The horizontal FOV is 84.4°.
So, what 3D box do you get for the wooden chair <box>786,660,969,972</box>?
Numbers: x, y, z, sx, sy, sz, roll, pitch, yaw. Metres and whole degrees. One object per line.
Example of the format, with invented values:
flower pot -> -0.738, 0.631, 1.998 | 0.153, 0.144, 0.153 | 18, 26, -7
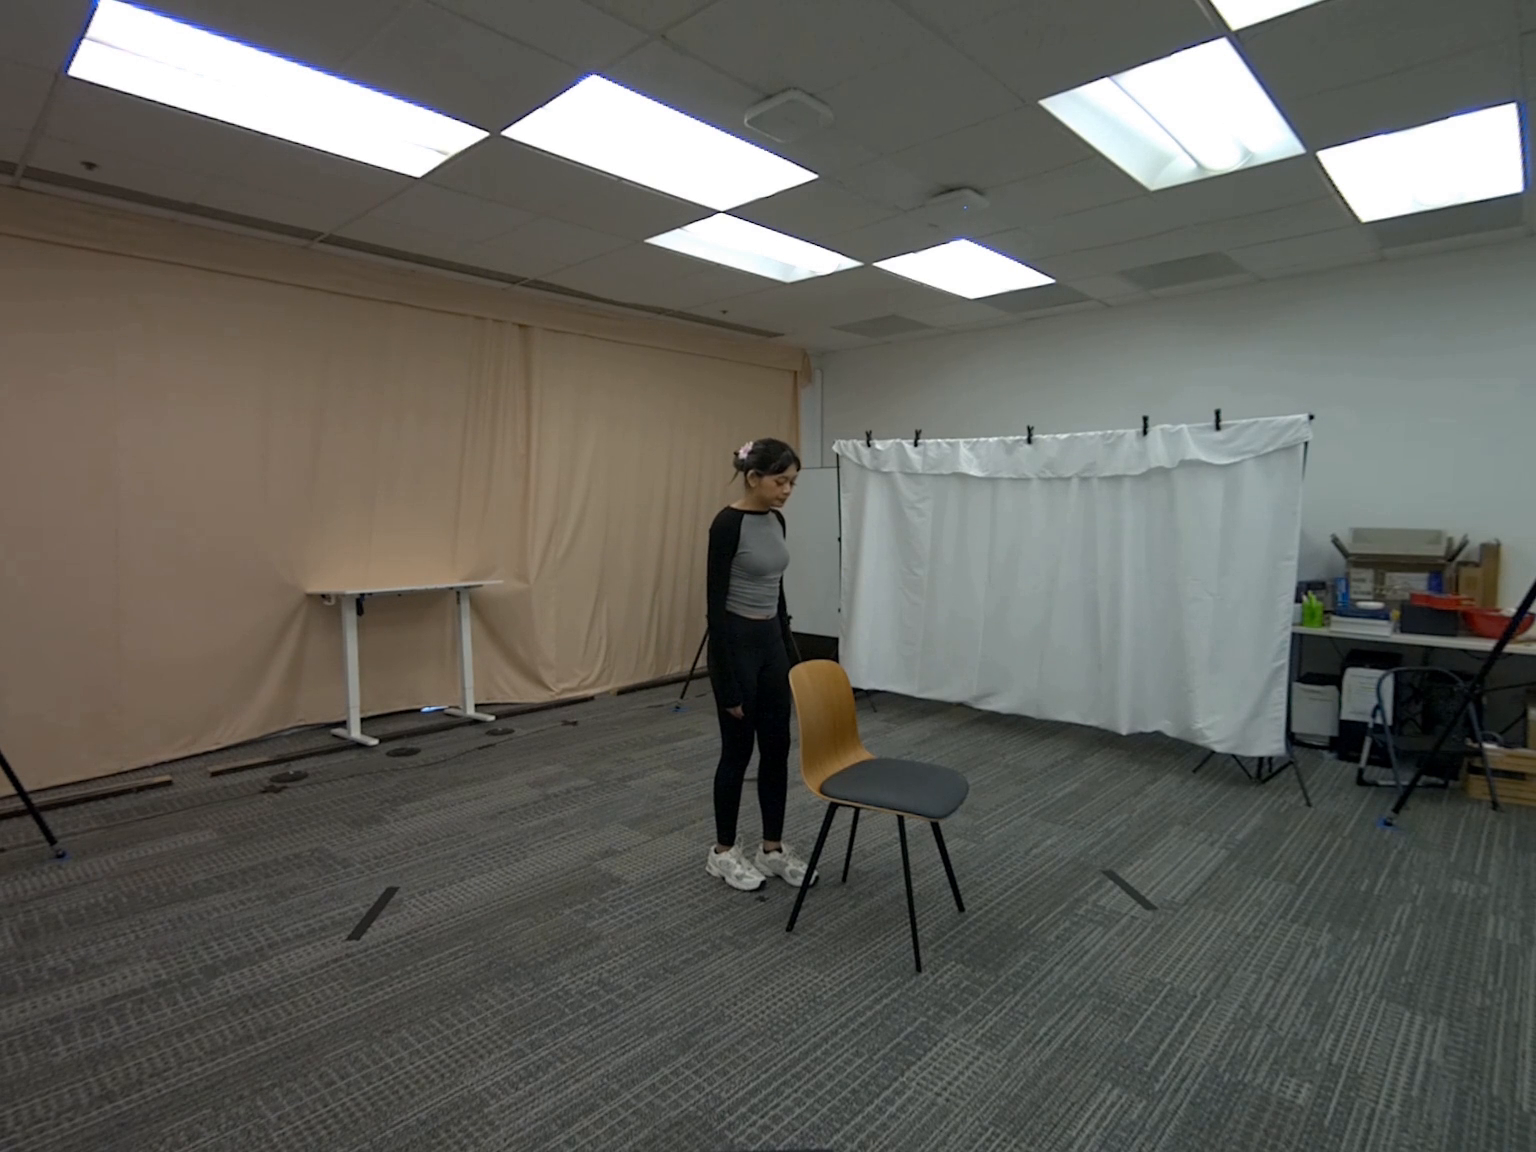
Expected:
wooden chair -> 0.381, 0.732, 2.781 | 0.538, 0.877, 0.465 | -4, 1, 31
